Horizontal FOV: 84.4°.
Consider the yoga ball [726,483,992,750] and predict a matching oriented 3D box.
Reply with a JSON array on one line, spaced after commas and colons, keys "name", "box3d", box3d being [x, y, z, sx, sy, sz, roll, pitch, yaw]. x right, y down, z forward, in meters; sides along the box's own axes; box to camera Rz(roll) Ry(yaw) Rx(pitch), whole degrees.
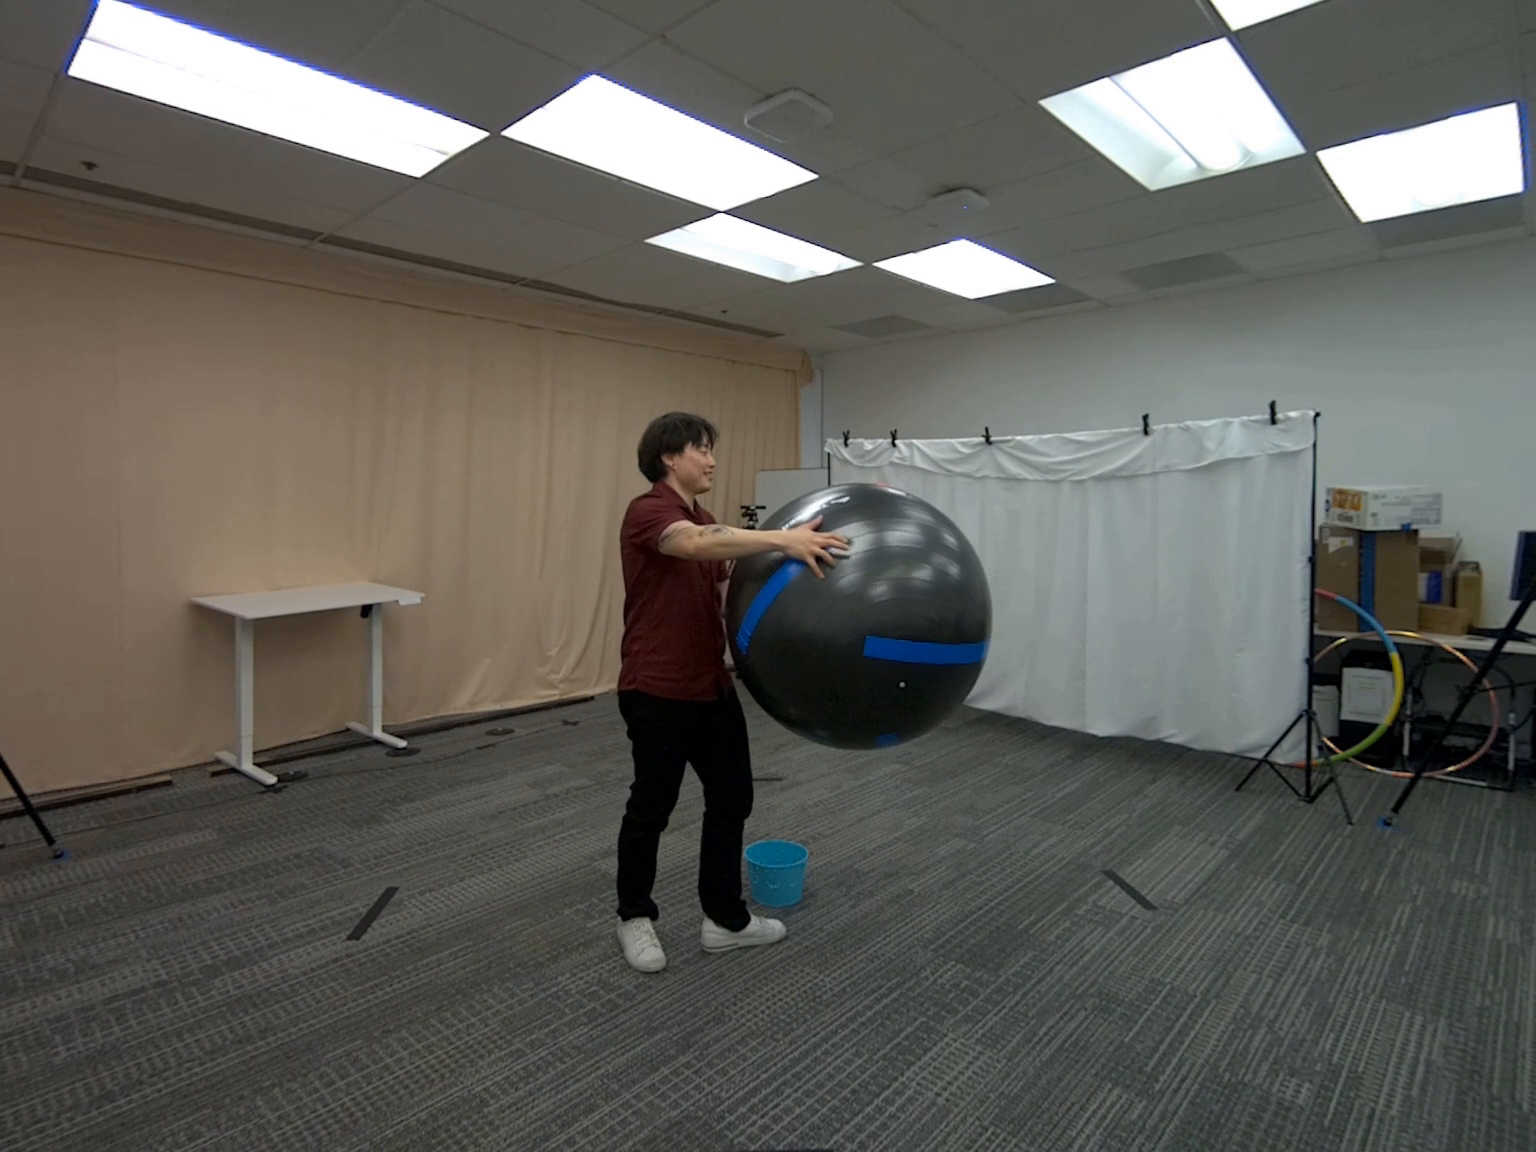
[{"name": "yoga ball", "box3d": [0.259, 0.116, 2.432, 0.757, 0.756, 0.761, 0, 4, -2]}]
